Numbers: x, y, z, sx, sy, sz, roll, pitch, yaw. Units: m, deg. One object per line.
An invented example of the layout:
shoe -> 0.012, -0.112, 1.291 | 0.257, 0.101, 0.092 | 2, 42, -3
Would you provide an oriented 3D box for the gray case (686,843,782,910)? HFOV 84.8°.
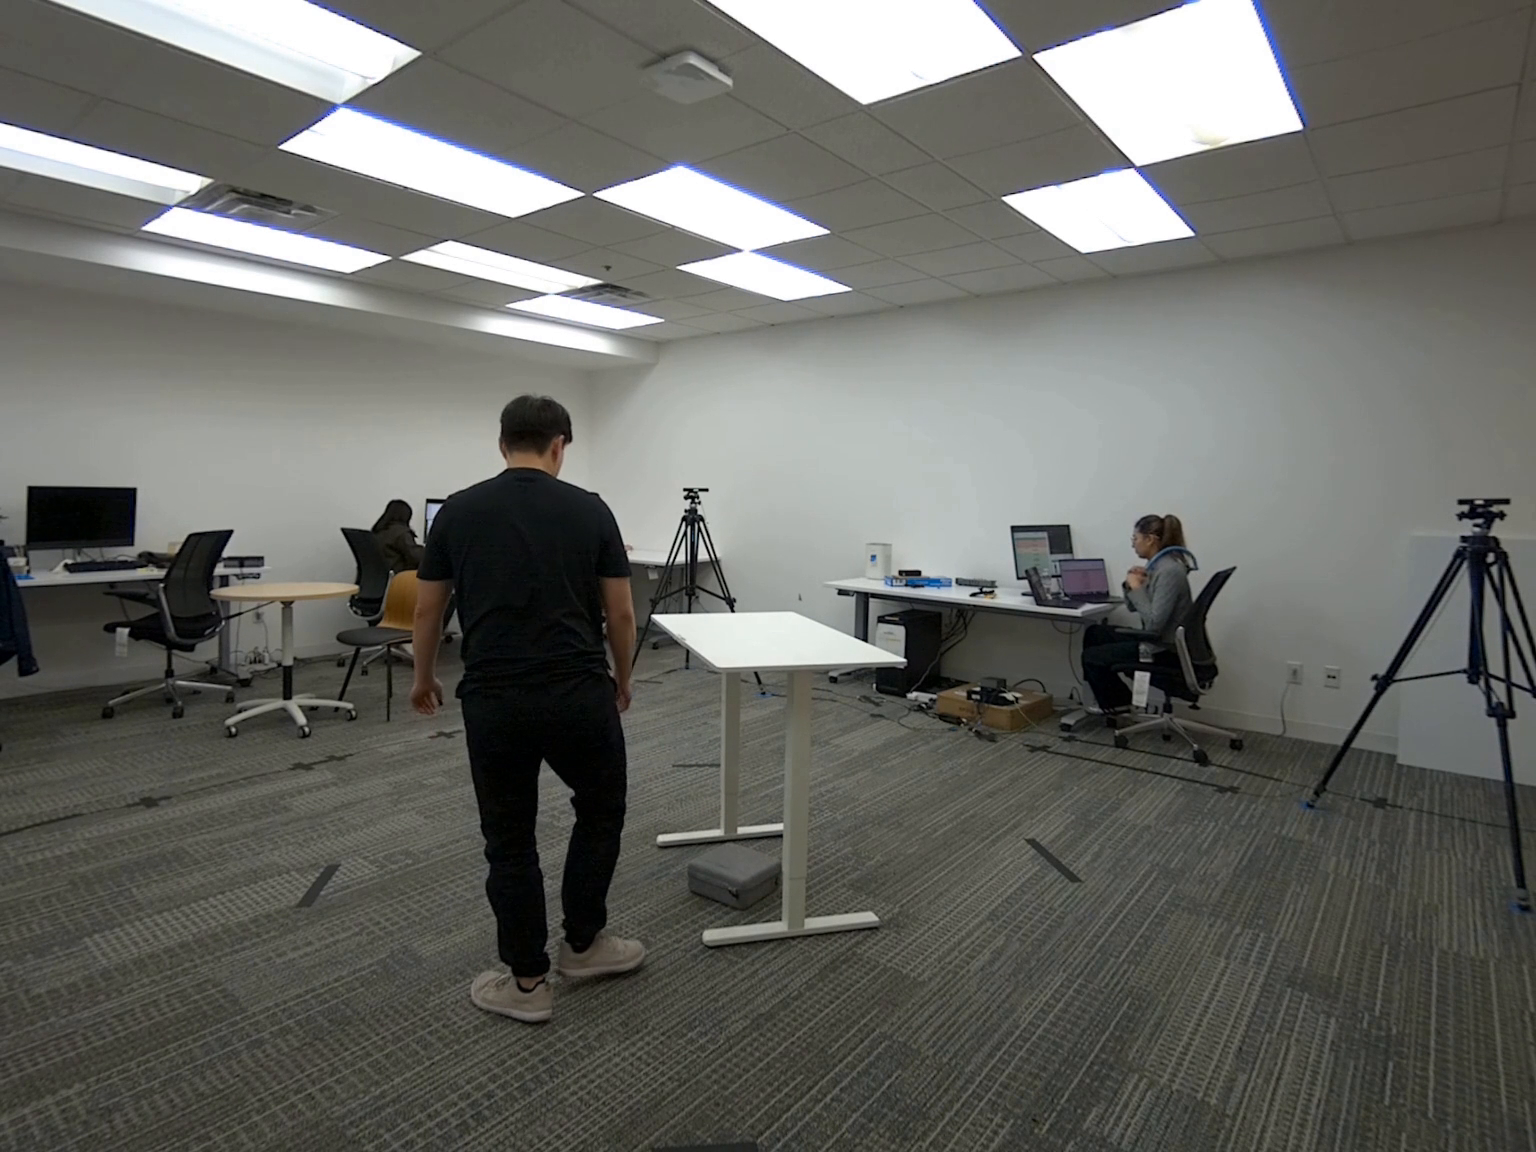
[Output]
gray case -> -0.122, 1.026, 2.959 | 0.265, 0.104, 0.253 | 3, 4, 36
